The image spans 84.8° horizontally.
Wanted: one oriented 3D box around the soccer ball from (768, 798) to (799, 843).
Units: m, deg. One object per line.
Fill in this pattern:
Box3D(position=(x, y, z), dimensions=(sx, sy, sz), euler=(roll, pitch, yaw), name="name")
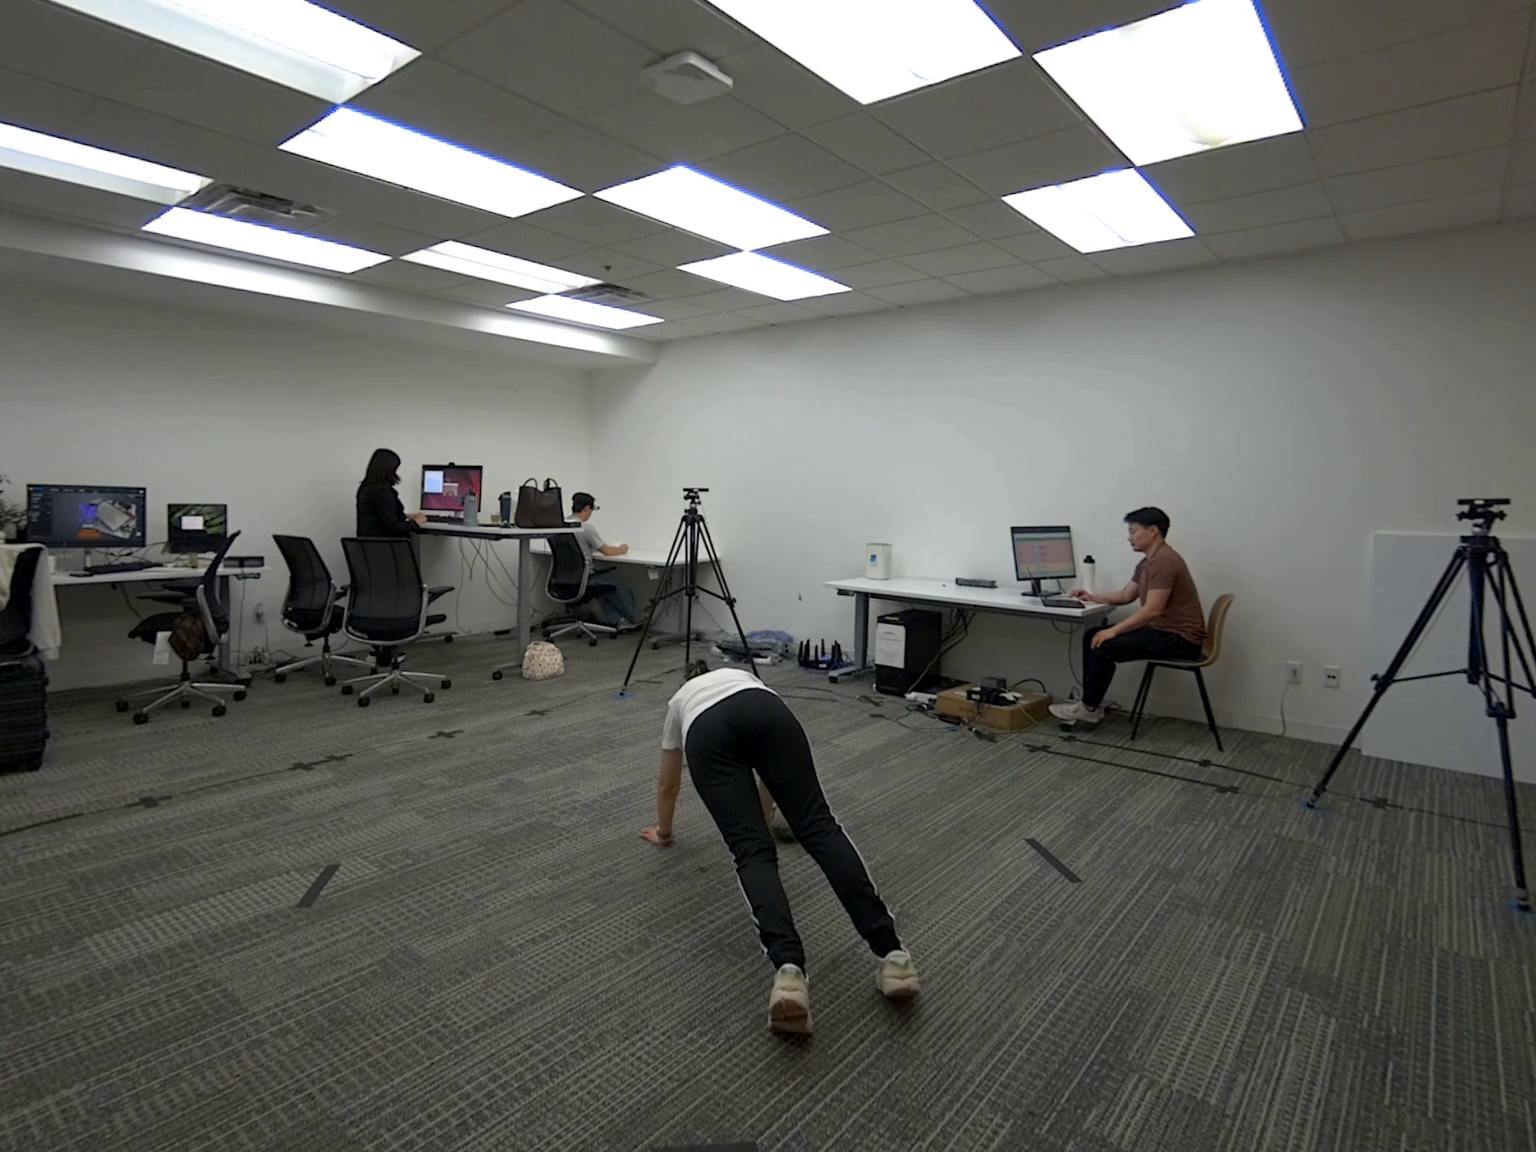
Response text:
Box3D(position=(0.078, 0.946, 3.409), dimensions=(0.187, 0.187, 0.188), euler=(1, 4, -2), name="soccer ball")
